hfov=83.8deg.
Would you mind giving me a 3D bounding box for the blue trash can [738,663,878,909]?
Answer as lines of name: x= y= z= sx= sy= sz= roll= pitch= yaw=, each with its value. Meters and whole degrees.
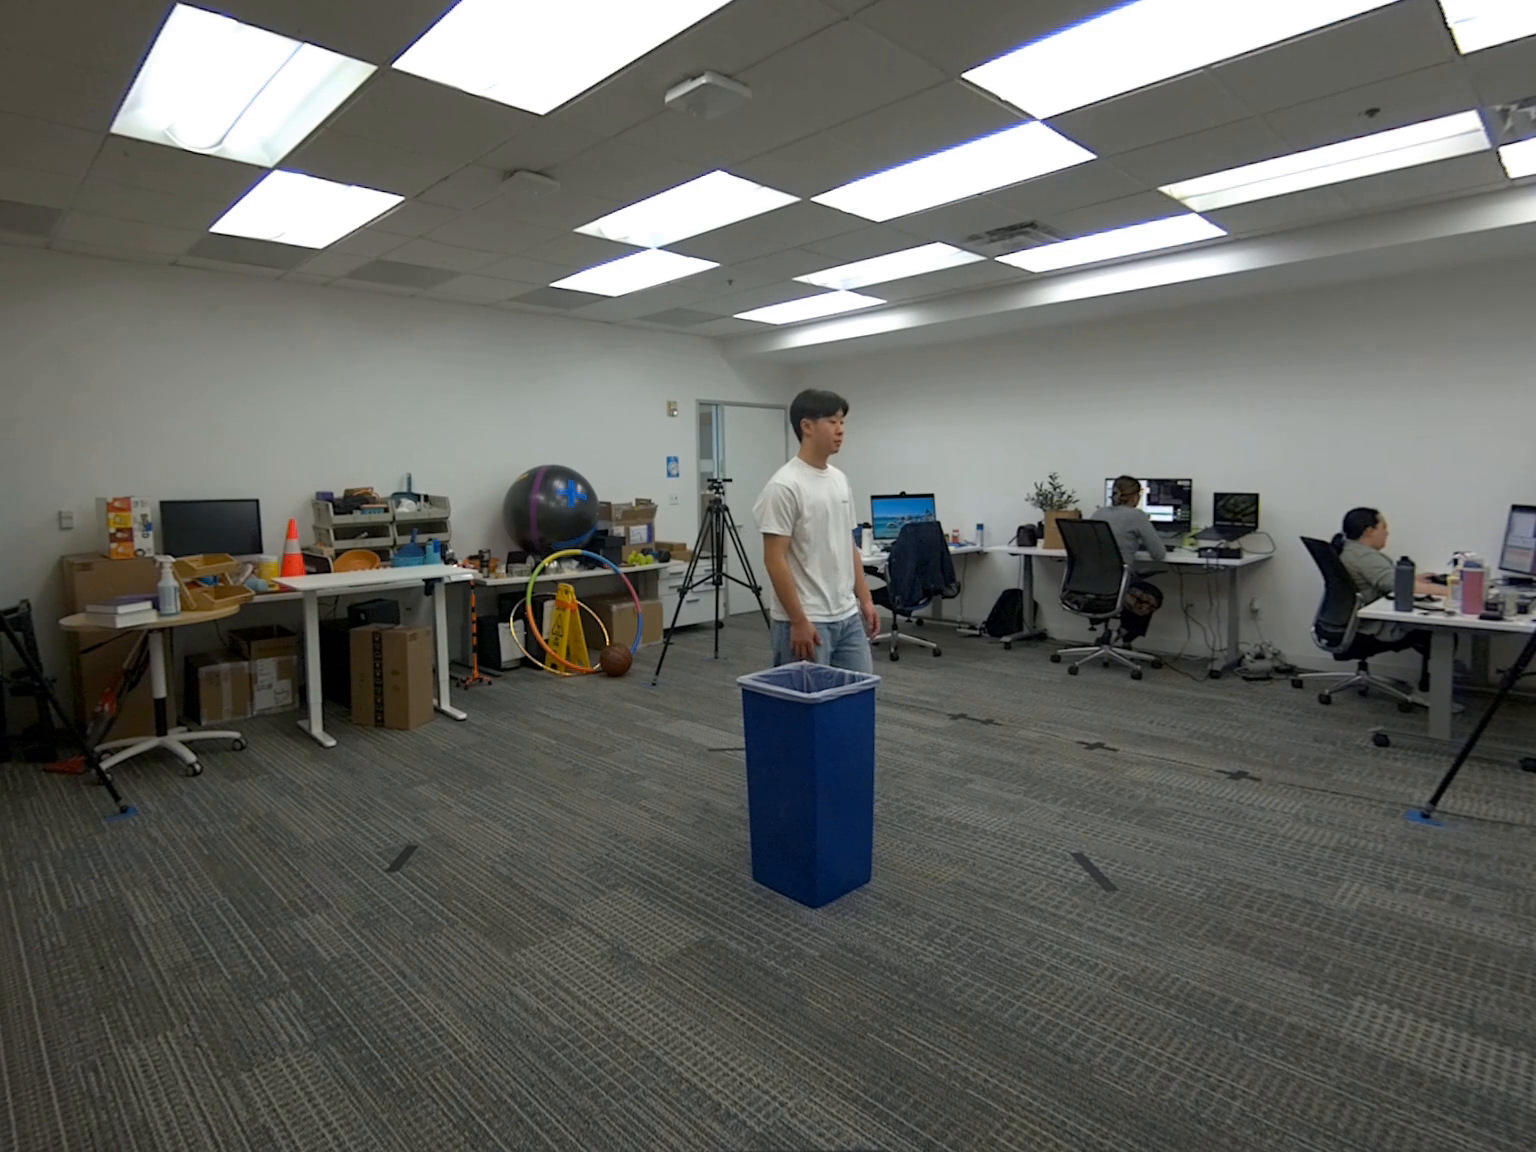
blue trash can: x=0.143 y=0.703 z=2.941 sx=0.364 sy=0.711 sz=0.389 roll=-4 pitch=5 yaw=-44
